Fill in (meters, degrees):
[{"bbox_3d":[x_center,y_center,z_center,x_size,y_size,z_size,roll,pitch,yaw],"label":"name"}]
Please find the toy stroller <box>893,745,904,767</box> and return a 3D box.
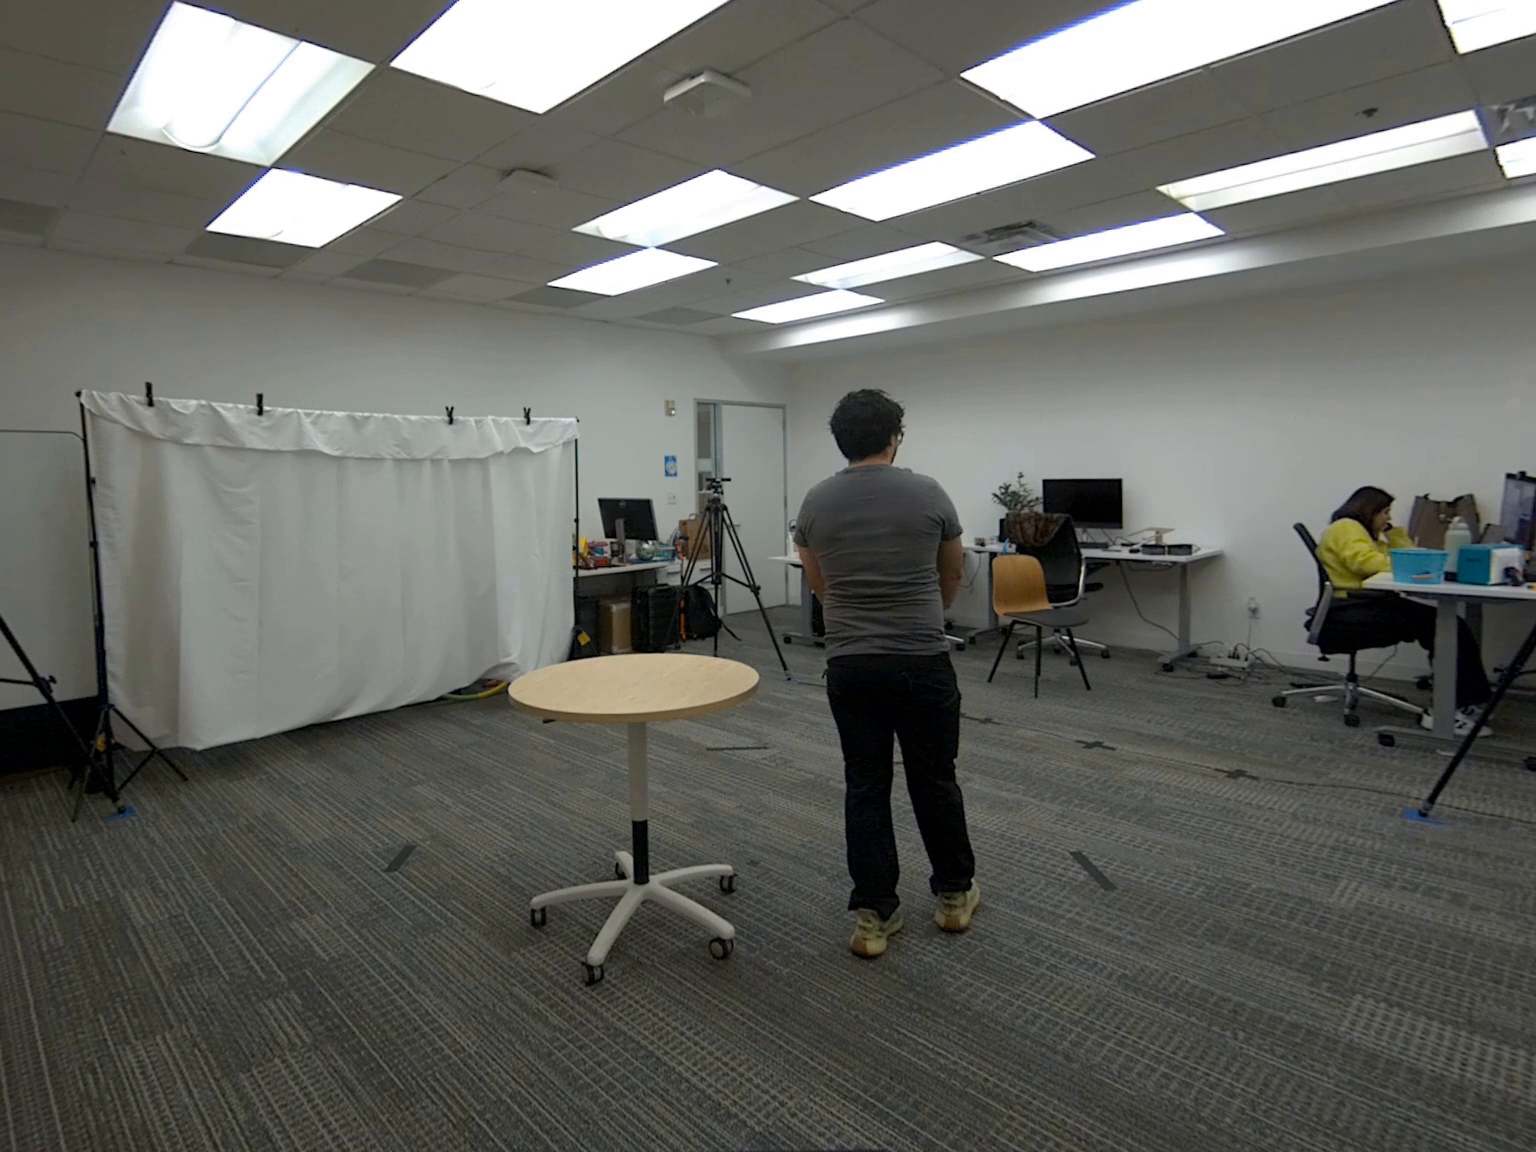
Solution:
[{"bbox_3d":[0.519,0.455,3.006,0.287,0.536,0.334,-10,-2,26],"label":"toy stroller"}]
